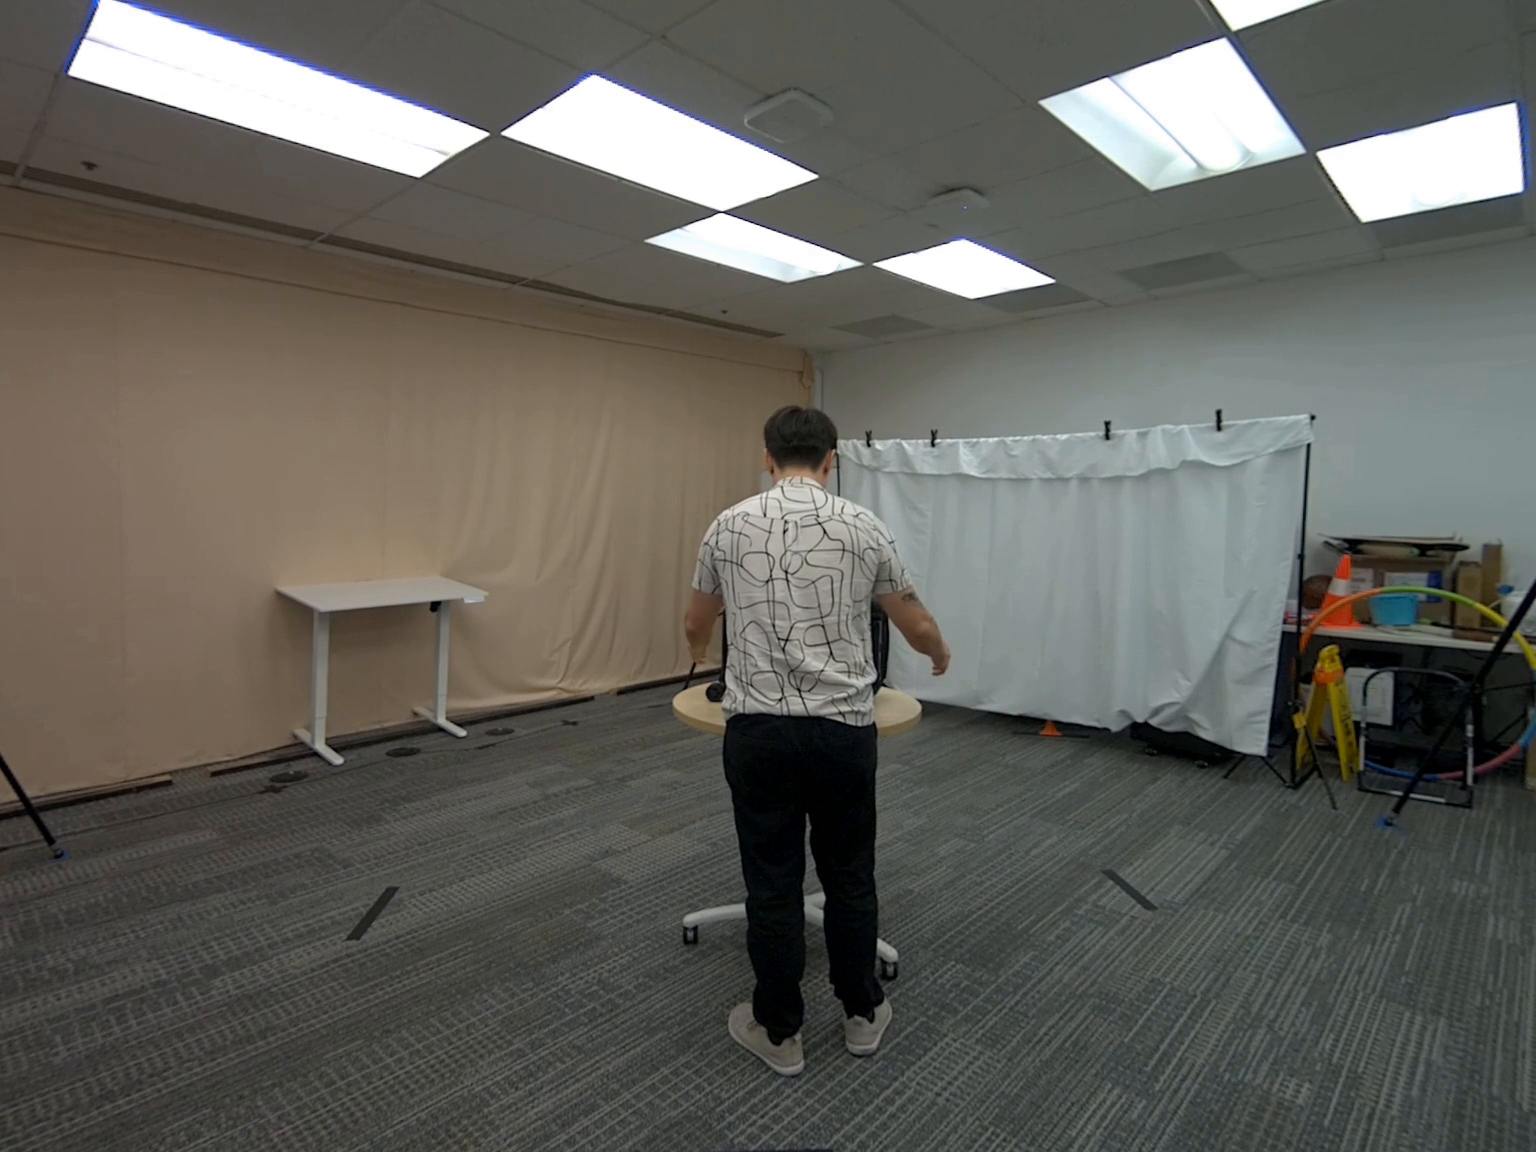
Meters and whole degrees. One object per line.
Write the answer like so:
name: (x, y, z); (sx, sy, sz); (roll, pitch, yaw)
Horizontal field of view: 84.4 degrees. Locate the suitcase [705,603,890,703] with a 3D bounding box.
suitcase: (0.105, 0.195, 2.665); (0.556, 0.375, 0.245); (0, 3, 11)
